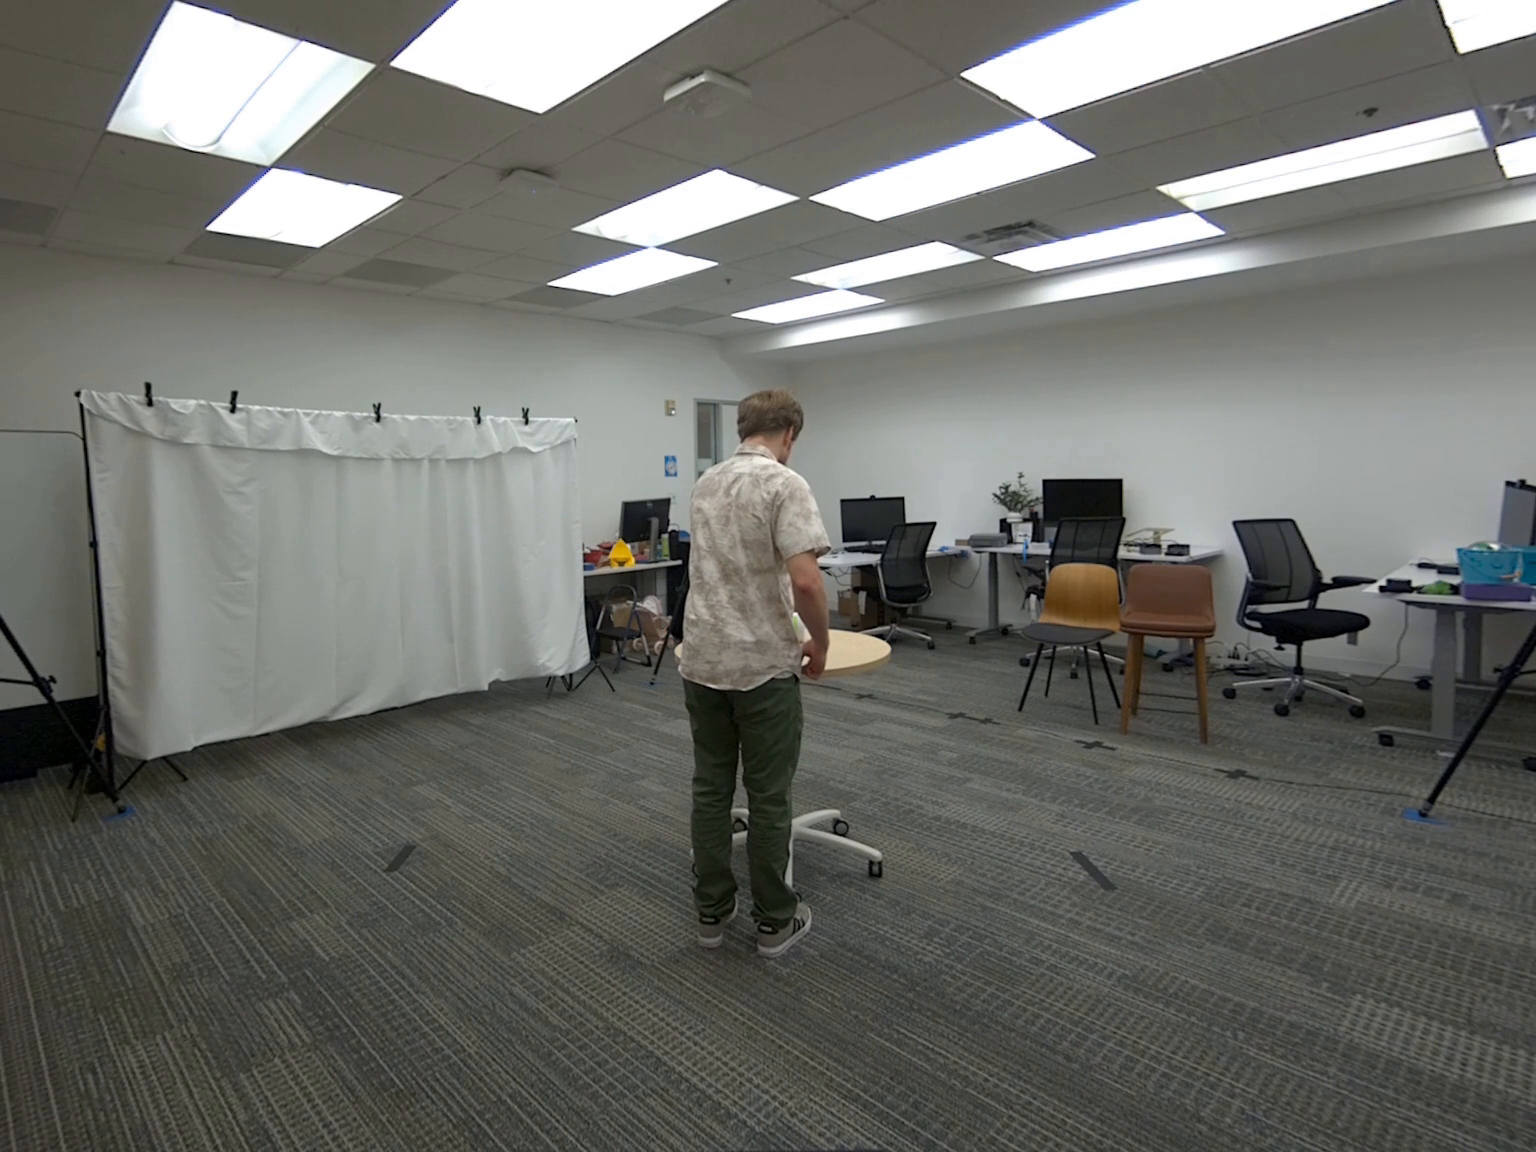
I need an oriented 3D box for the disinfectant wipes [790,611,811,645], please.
[{"bbox_3d":[0.040,0.189,3.143,0.218,0.117,0.118,2,5,4],"label":"disinfectant wipes"}]
